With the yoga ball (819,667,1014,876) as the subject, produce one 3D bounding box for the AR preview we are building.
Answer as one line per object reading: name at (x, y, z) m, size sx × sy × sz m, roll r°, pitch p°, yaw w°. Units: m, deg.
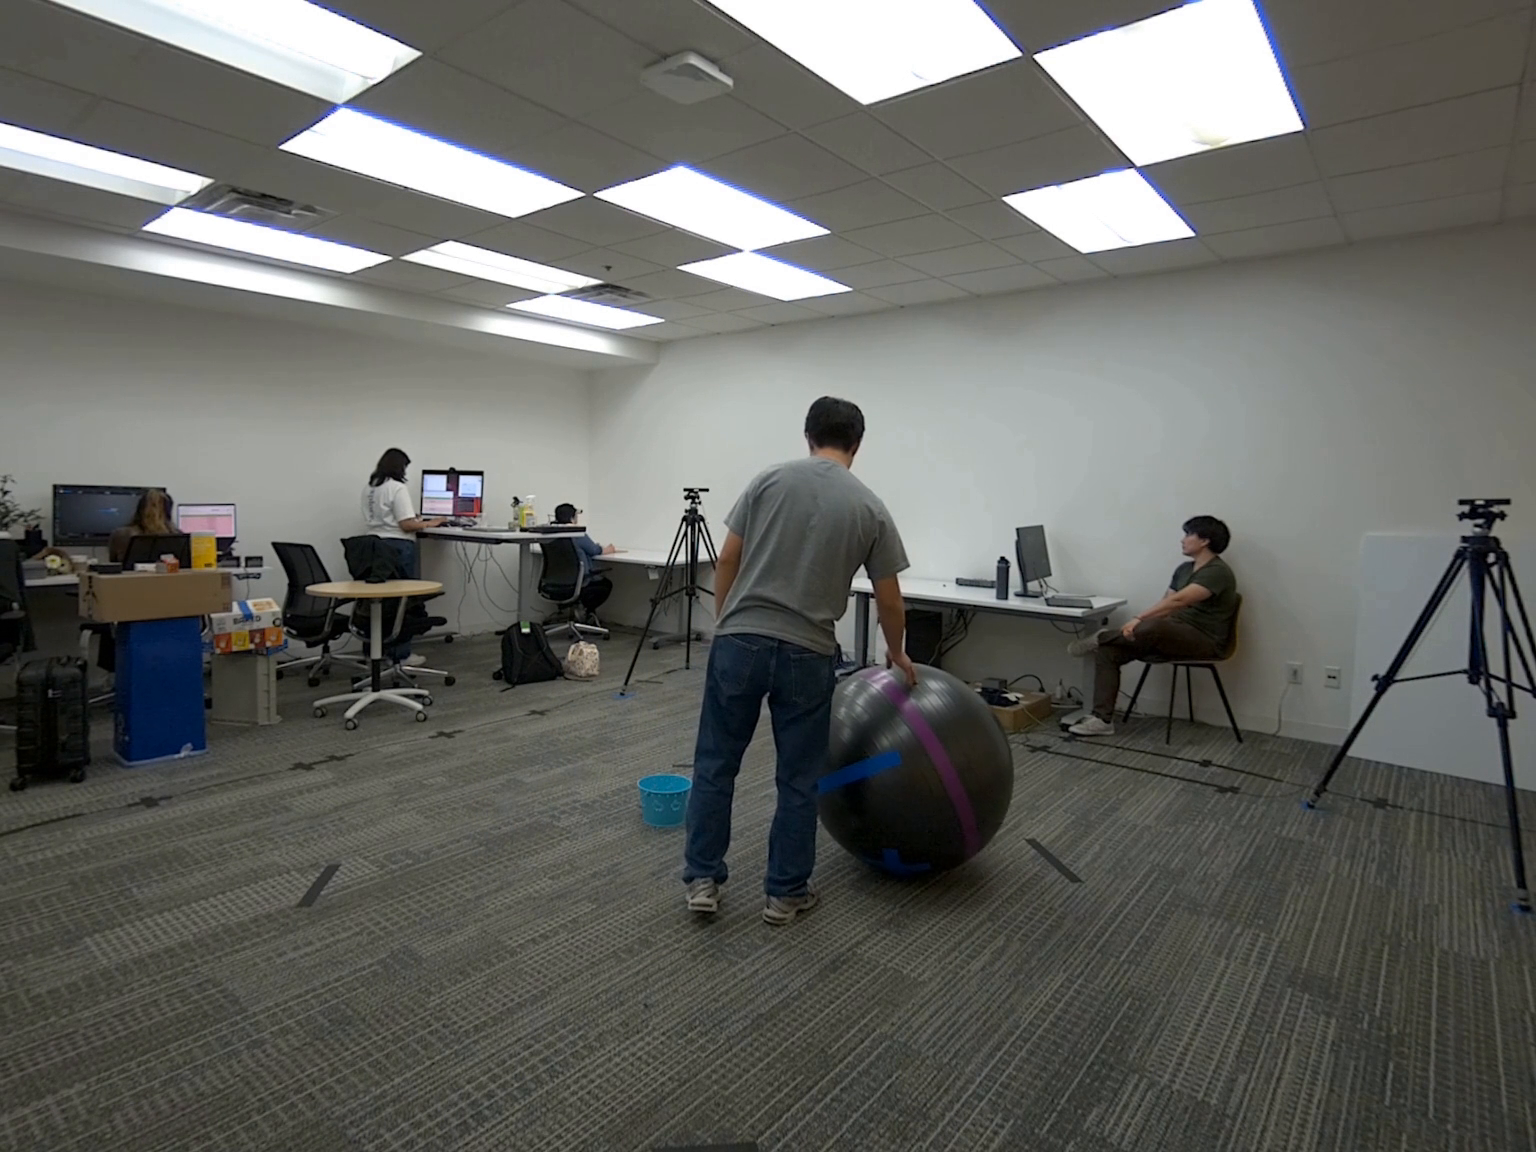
yoga ball at (0.517, 0.706, 3.178) m, size 0.757 × 0.755 × 0.762 m, roll 1°, pitch 4°, yaw -2°
